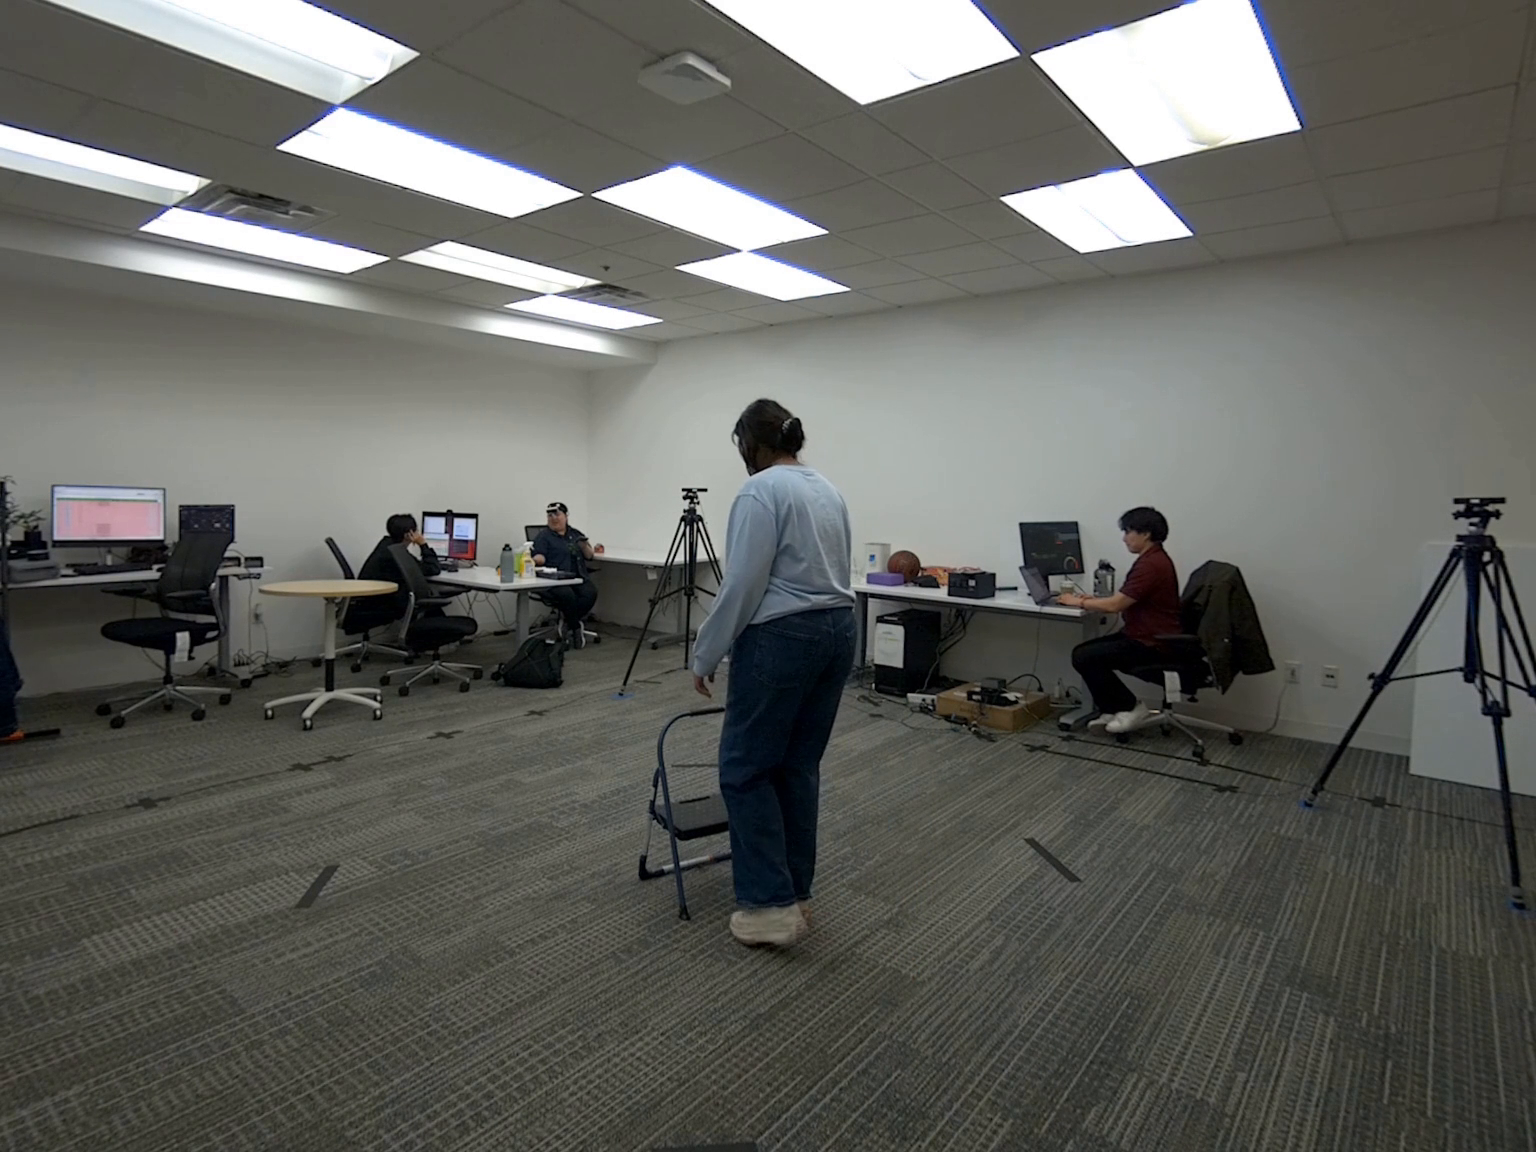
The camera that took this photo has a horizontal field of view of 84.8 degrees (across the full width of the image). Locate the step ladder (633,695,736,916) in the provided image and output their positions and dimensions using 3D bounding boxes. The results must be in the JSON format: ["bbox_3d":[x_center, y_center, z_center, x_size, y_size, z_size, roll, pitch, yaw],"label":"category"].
[{"bbox_3d":[-0.196,0.776,2.976,0.418,0.604,0.360,0,4,-34],"label":"step ladder"}]
